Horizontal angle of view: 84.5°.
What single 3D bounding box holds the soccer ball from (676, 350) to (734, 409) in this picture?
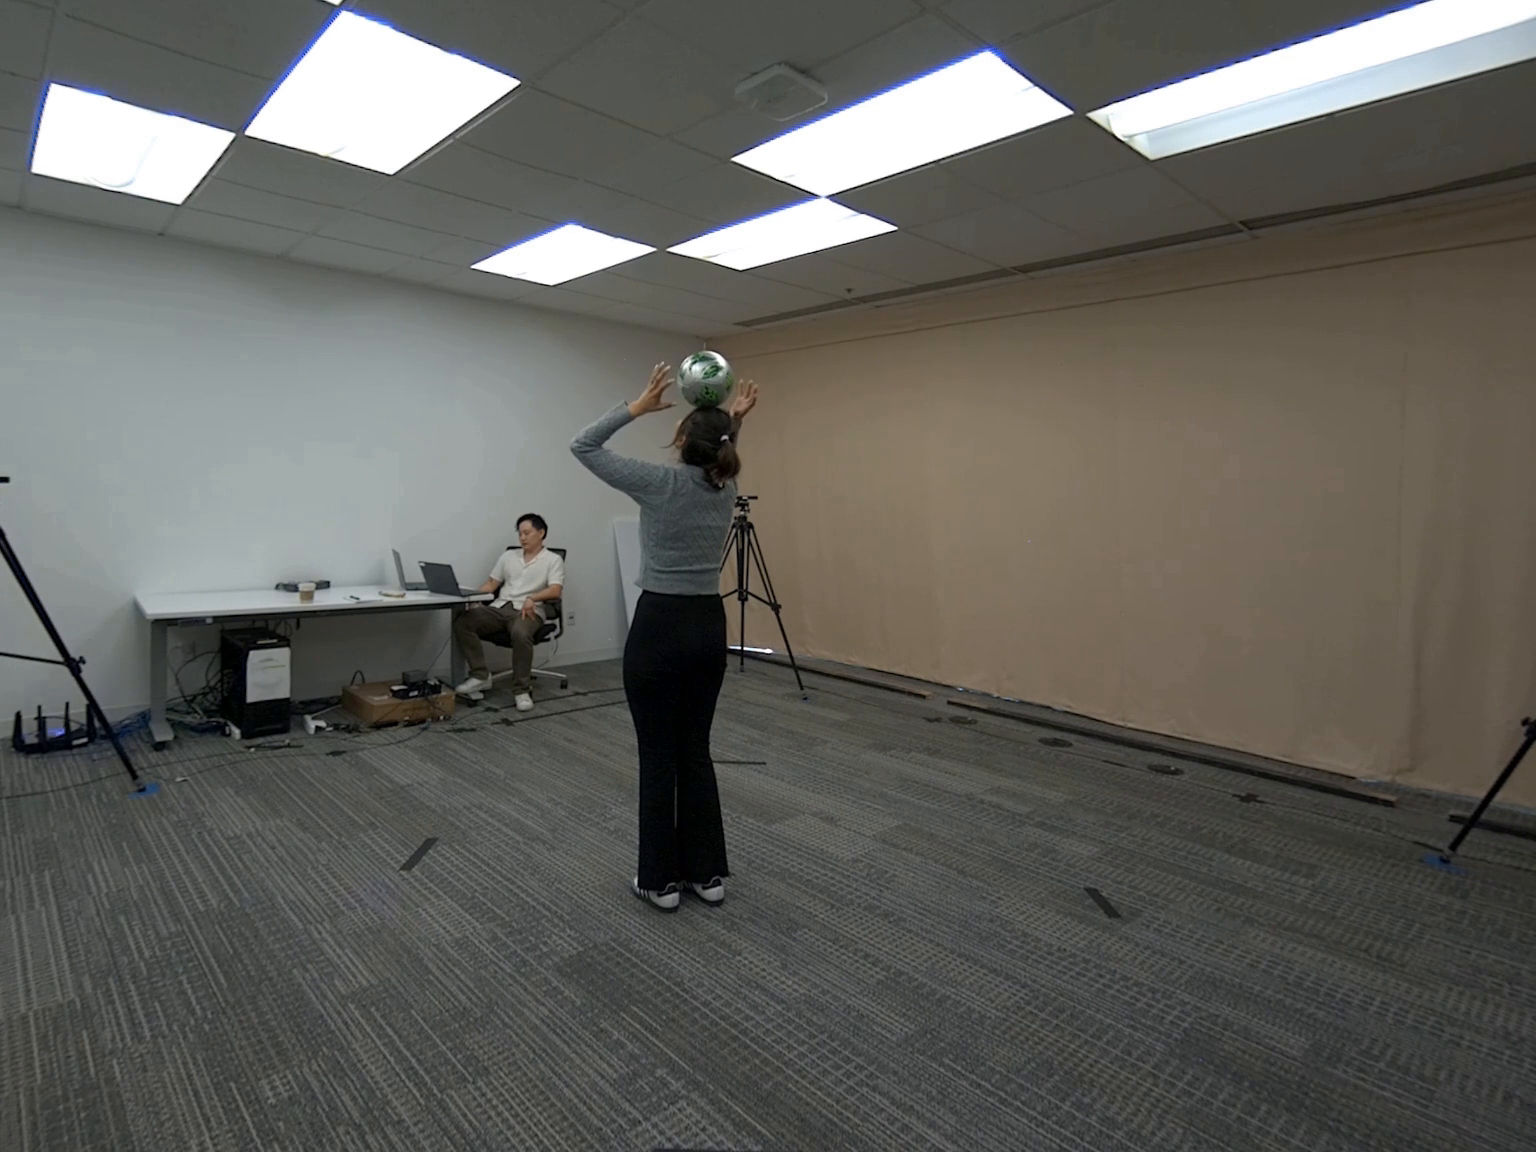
[{"bbox_3d":[-0.219,-0.644,2.779,0.187,0.187,0.188,1,4,-1],"label":"soccer ball"}]
